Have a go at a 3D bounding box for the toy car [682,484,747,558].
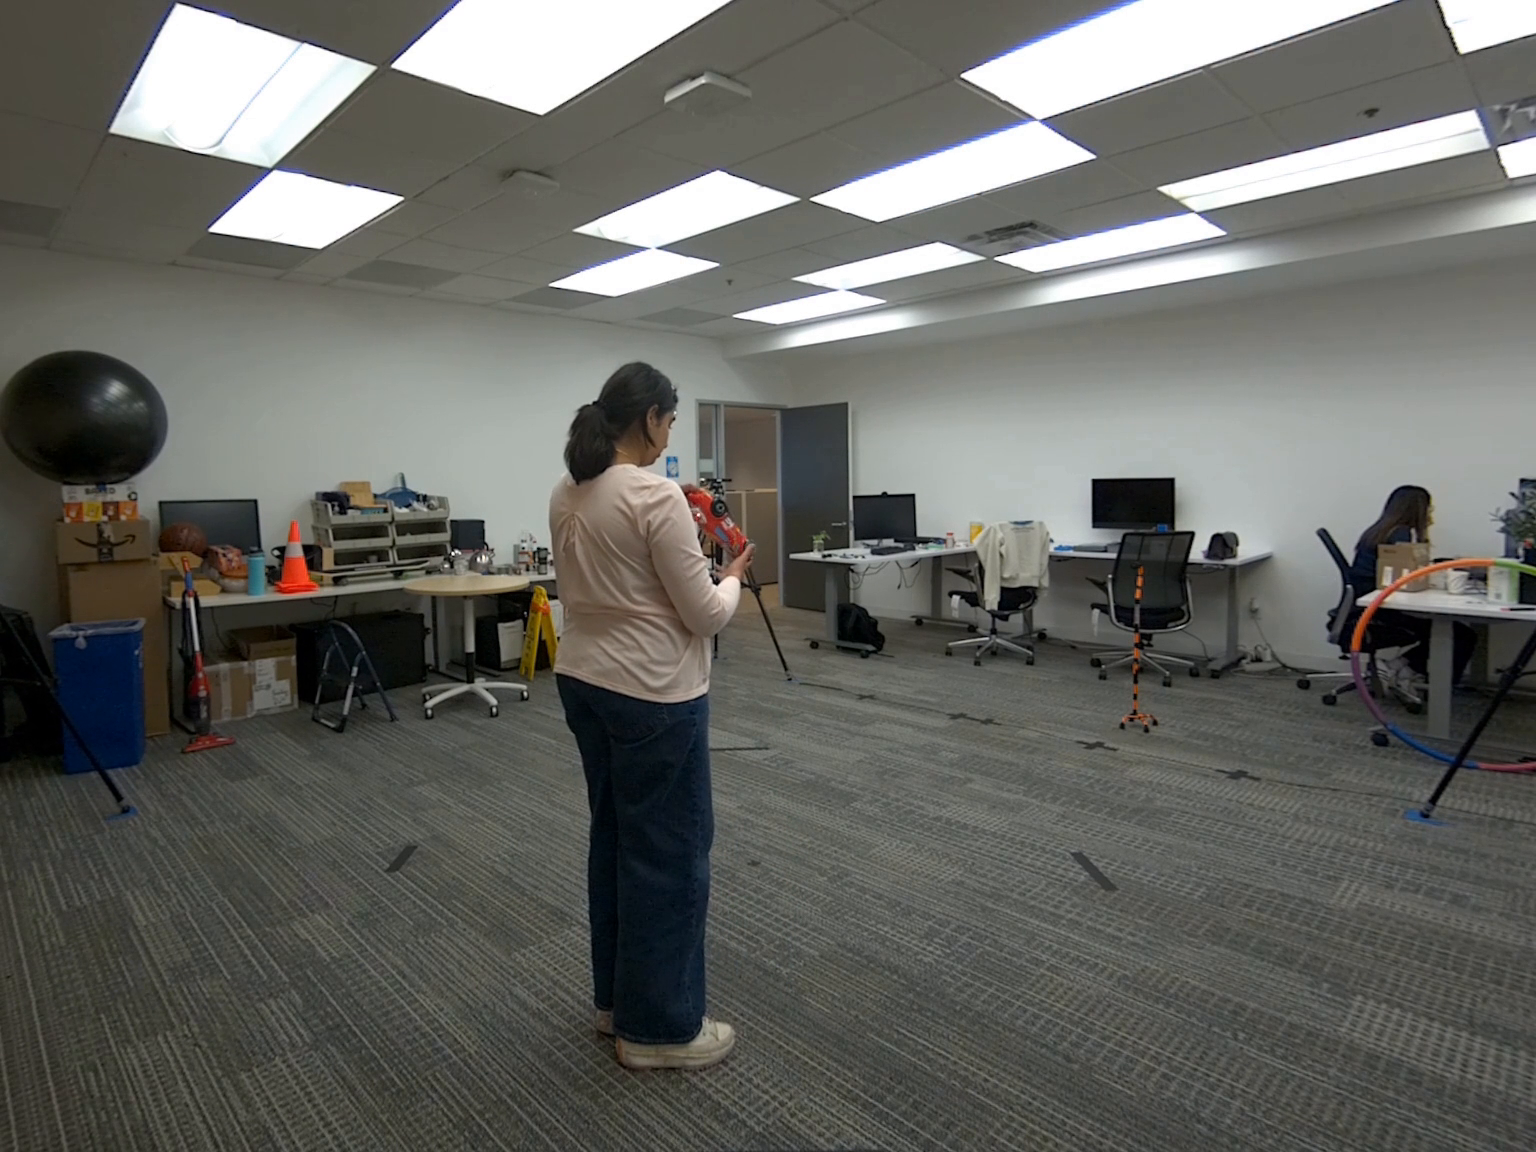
[{"bbox_3d":[-0.129,-0.138,2.328,0.247,0.083,0.134,41,-17,-24],"label":"toy car"}]
